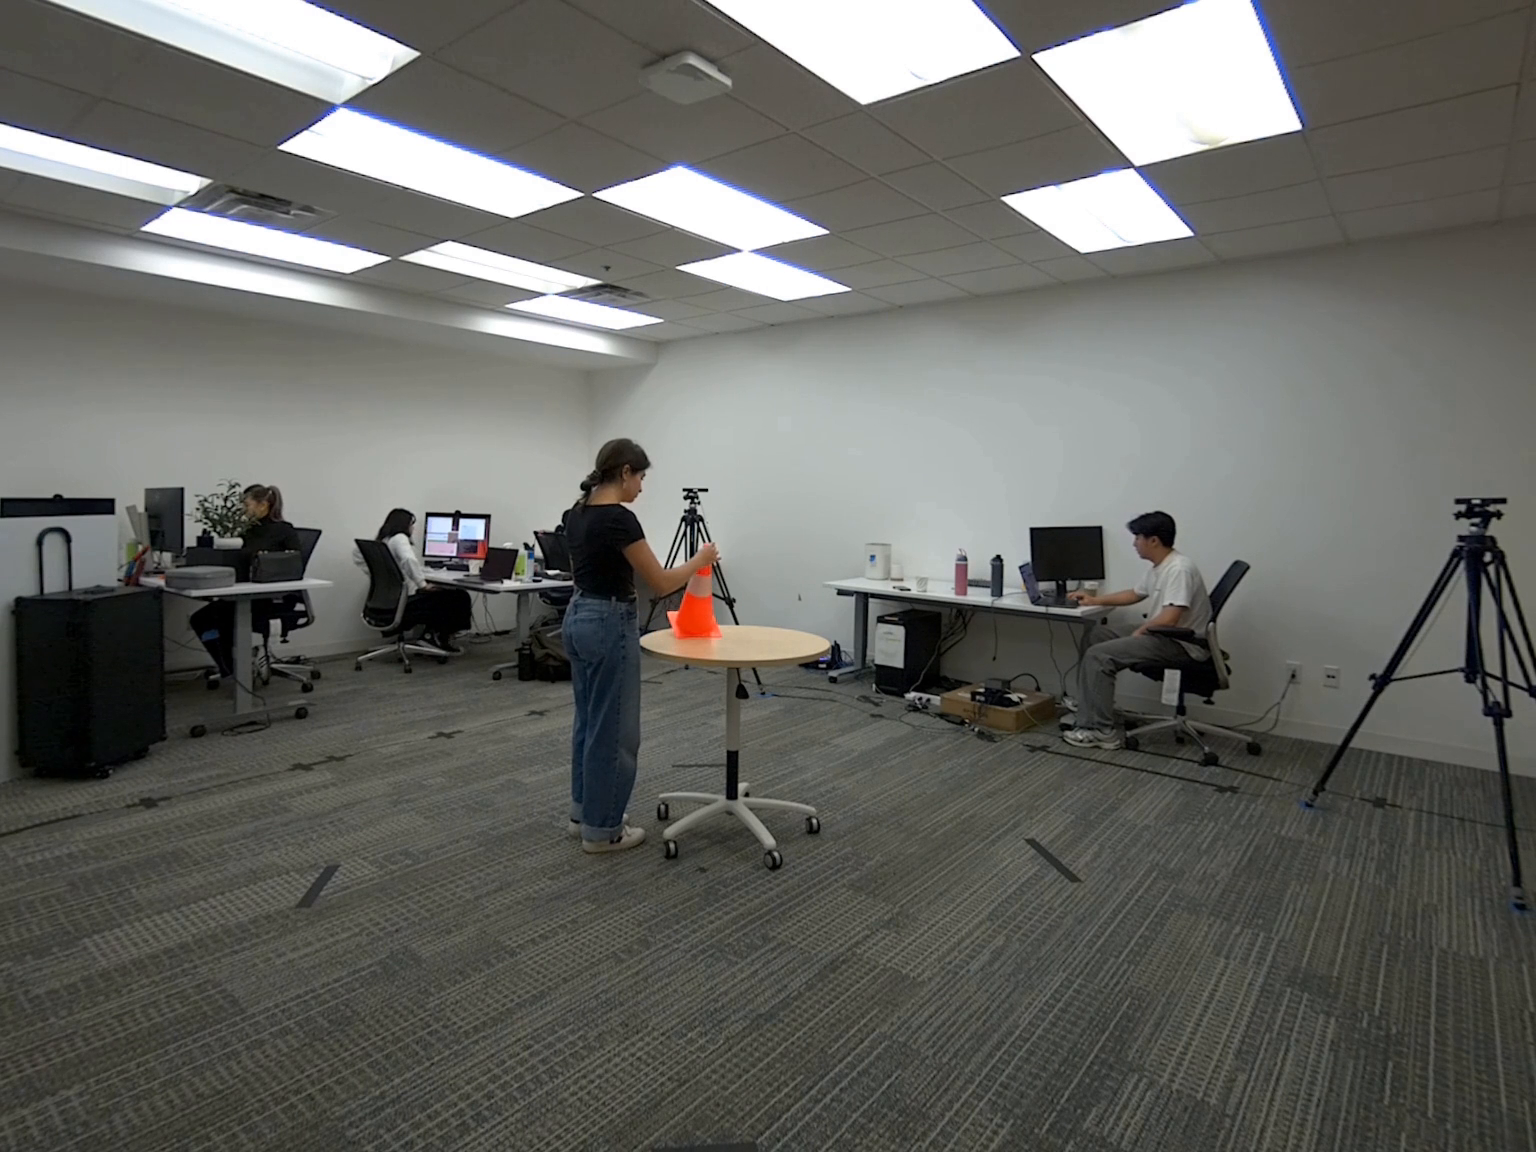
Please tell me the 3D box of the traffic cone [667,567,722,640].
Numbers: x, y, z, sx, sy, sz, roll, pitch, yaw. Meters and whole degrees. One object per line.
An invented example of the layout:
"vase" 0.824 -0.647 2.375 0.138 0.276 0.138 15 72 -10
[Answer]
"traffic cone" -0.286 0.038 3.480 0.199 0.377 0.213 0 28 -21
